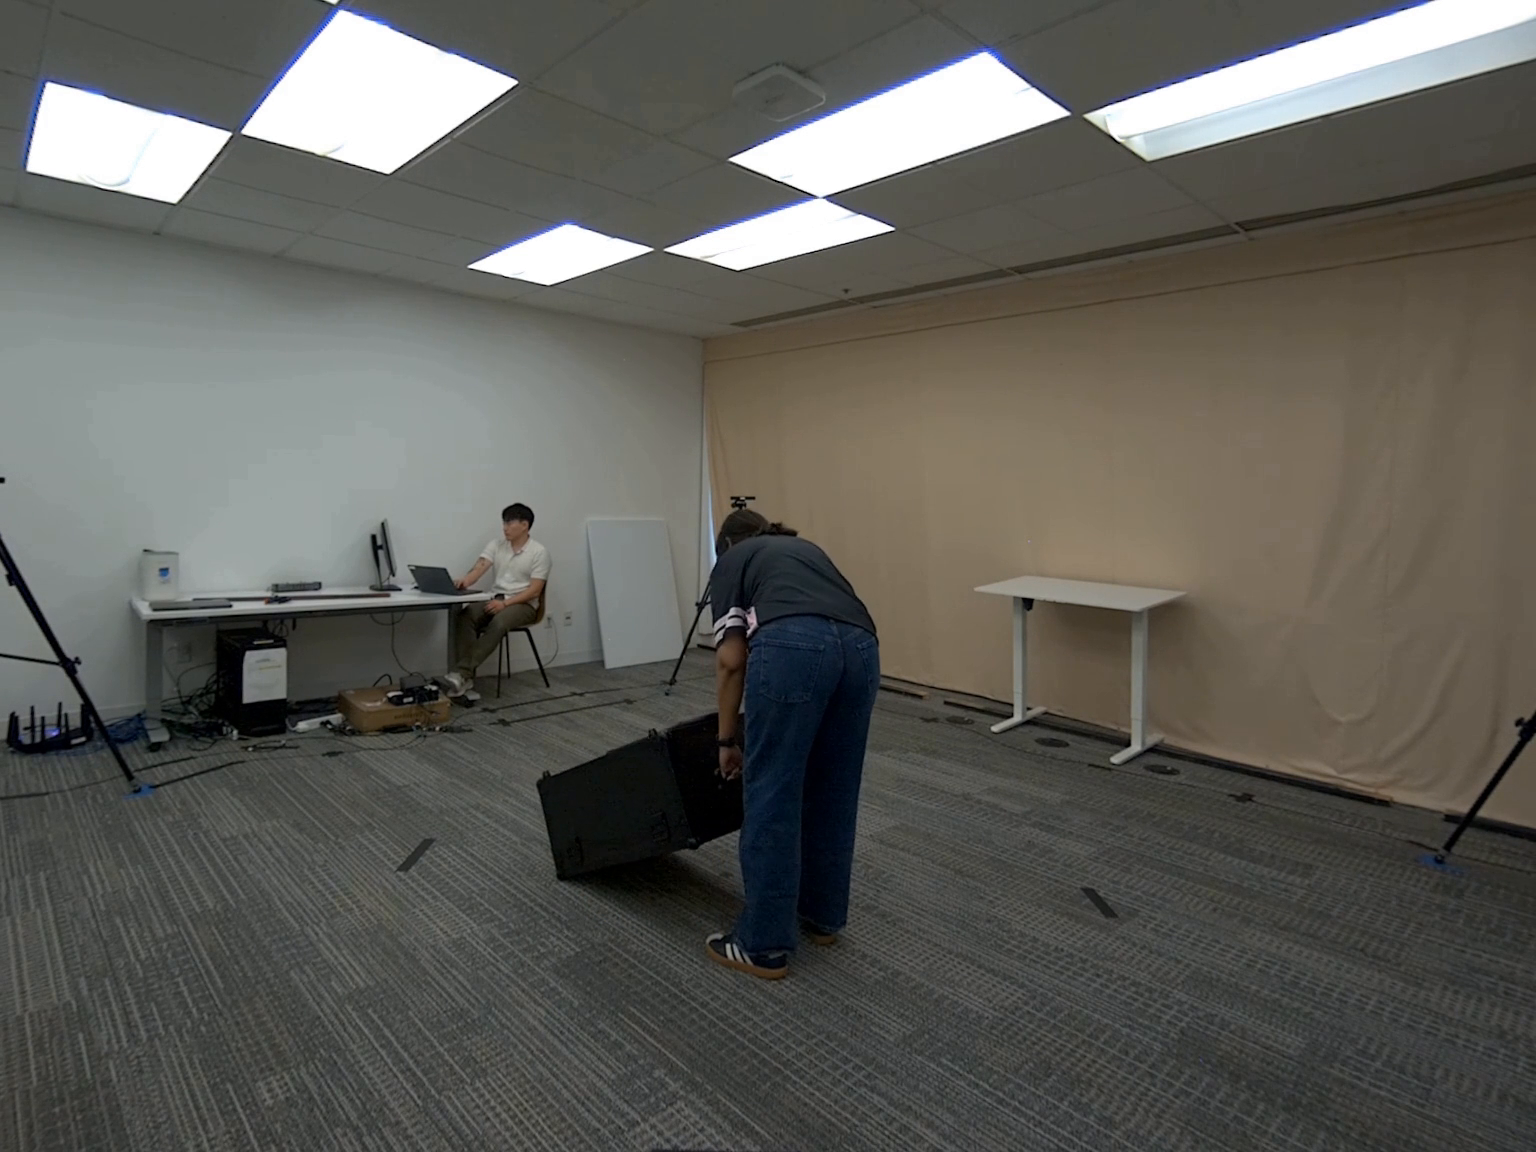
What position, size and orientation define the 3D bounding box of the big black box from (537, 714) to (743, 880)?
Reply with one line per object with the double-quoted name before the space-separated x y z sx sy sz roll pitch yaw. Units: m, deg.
"big black box" -0.422 0.787 3.019 0.877 0.390 0.512 -28 -15 40
